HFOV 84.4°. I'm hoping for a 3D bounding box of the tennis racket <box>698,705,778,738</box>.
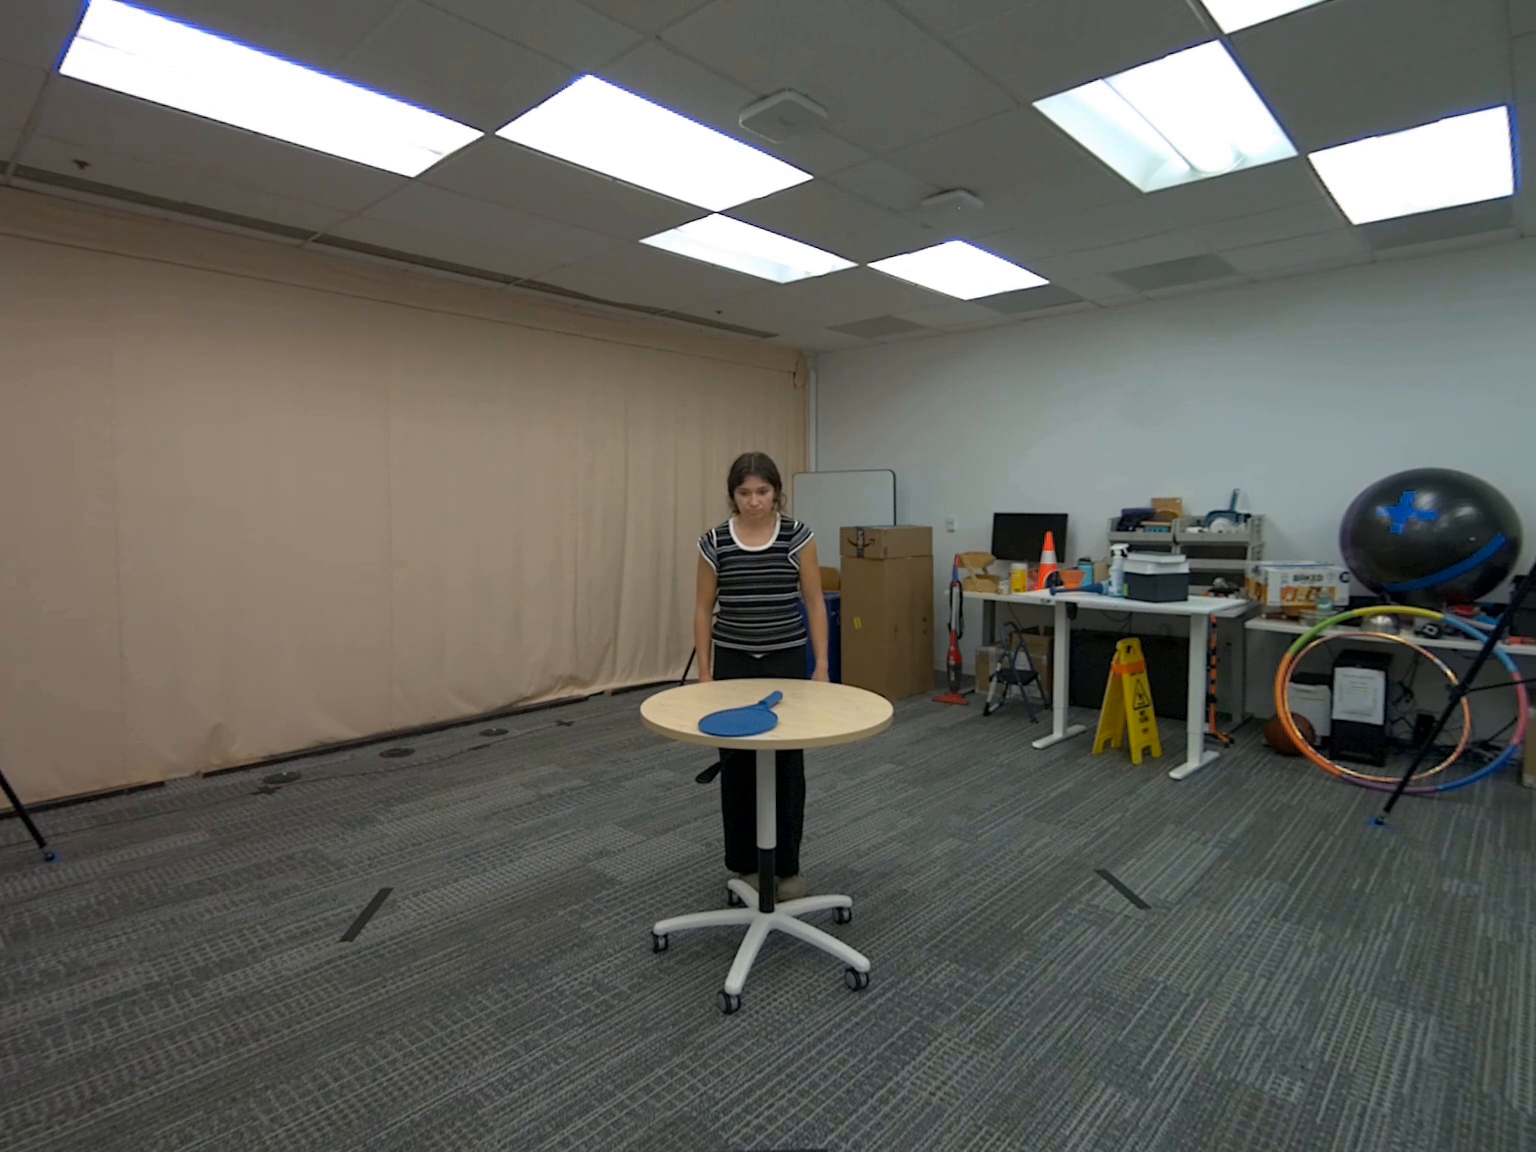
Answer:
[{"bbox_3d":[-0.046,0.400,2.419,0.218,0.031,0.425,2,7,19],"label":"tennis racket"}]
